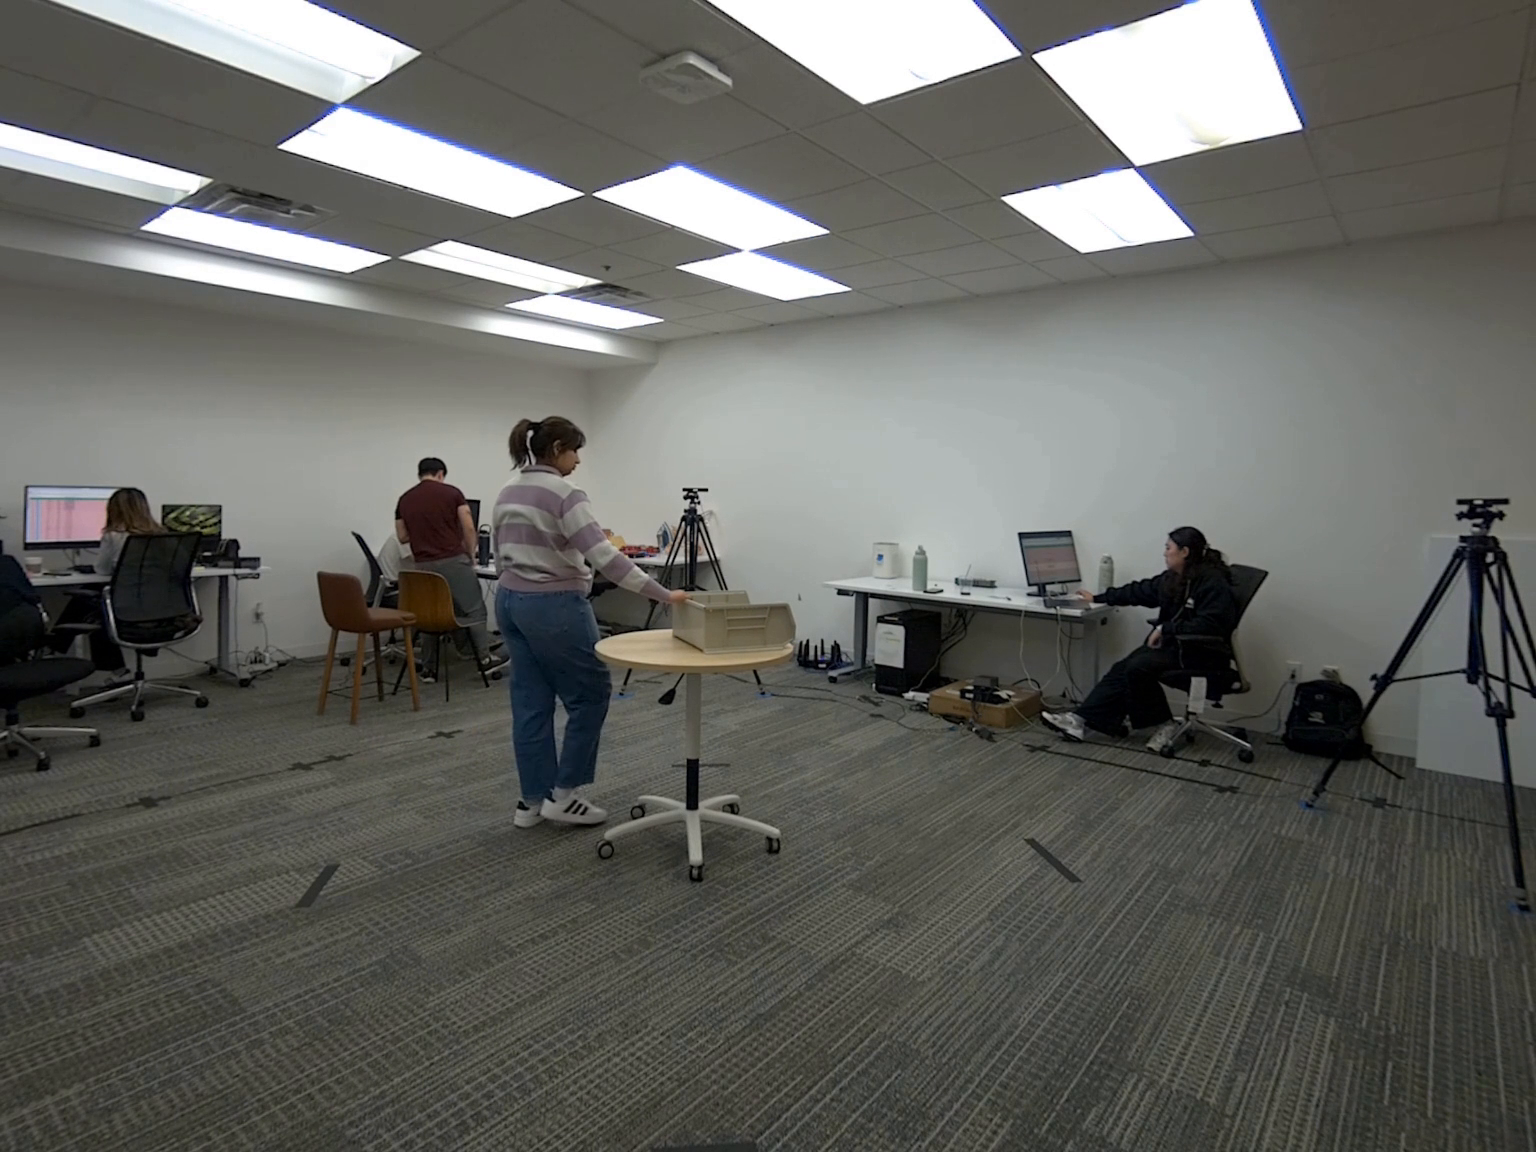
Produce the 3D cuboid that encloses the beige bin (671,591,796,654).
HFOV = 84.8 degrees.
[{"bbox_3d":[-0.163,0.167,3.357,0.370,0.188,0.433,-5,8,-22],"label":"beige bin"}]
